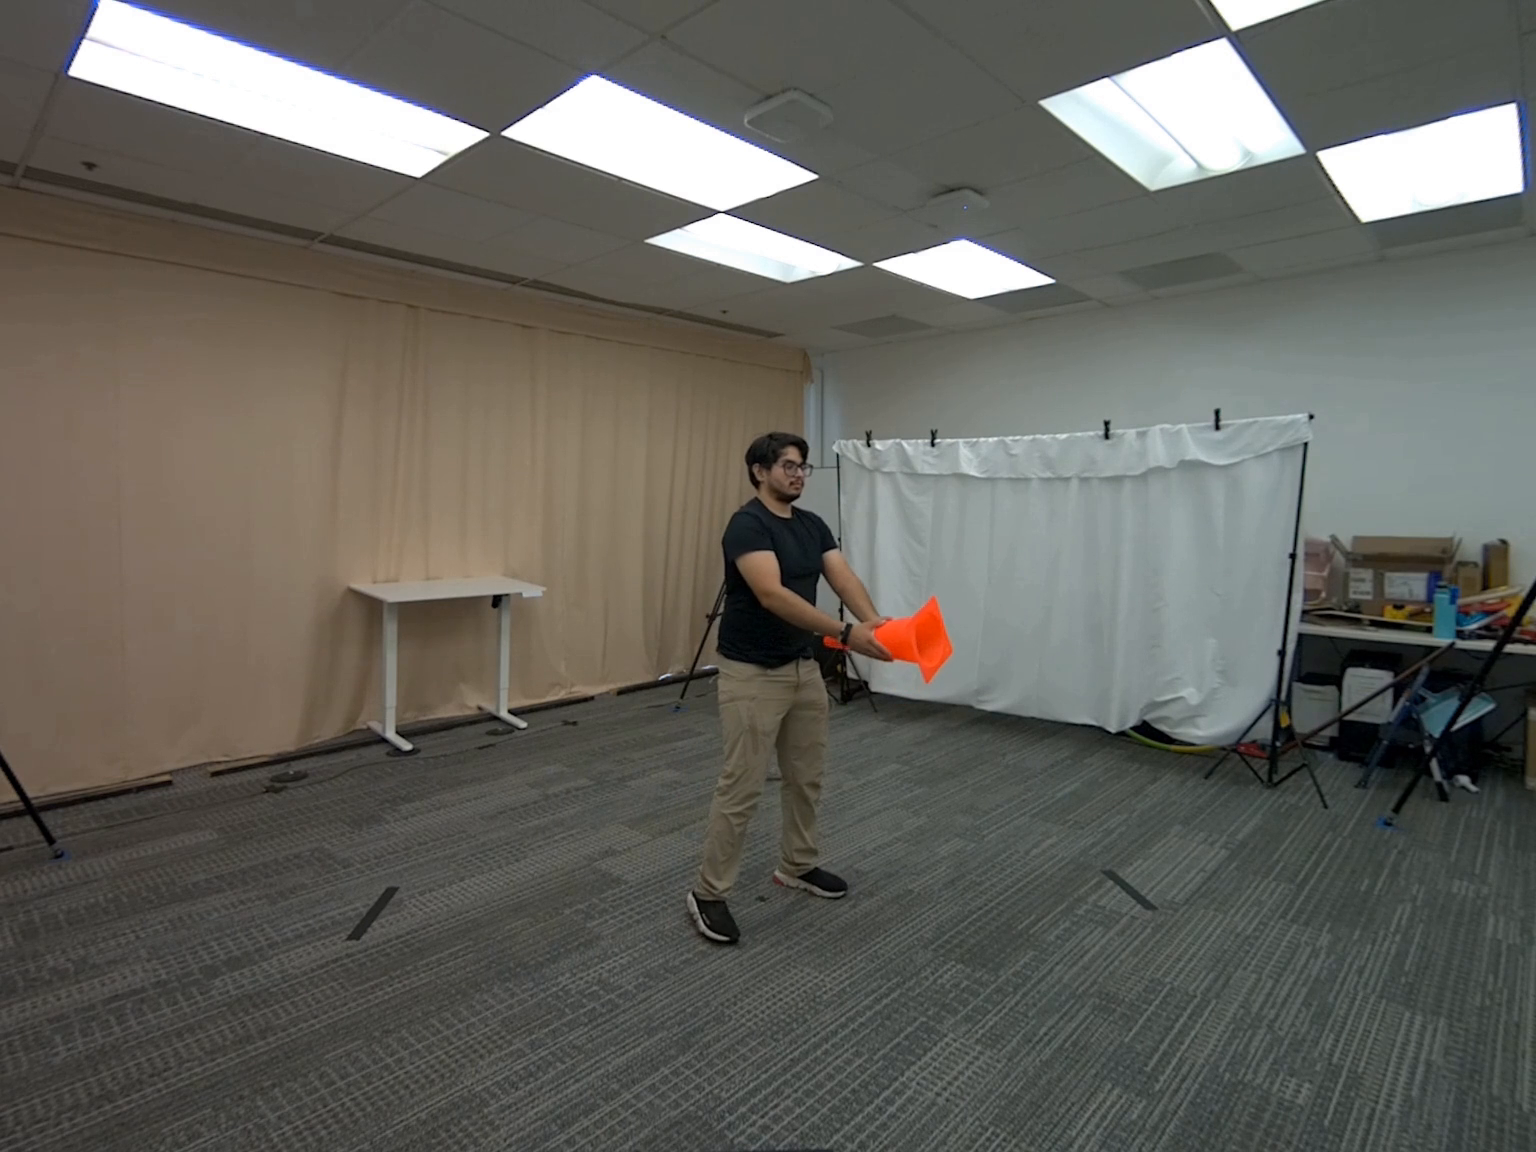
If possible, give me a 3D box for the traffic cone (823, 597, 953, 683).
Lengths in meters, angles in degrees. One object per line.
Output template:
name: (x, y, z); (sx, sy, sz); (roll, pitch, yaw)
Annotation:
traffic cone: (0.340, 0.195, 2.613); (0.395, 0.200, 0.202); (-4, 22, 40)
